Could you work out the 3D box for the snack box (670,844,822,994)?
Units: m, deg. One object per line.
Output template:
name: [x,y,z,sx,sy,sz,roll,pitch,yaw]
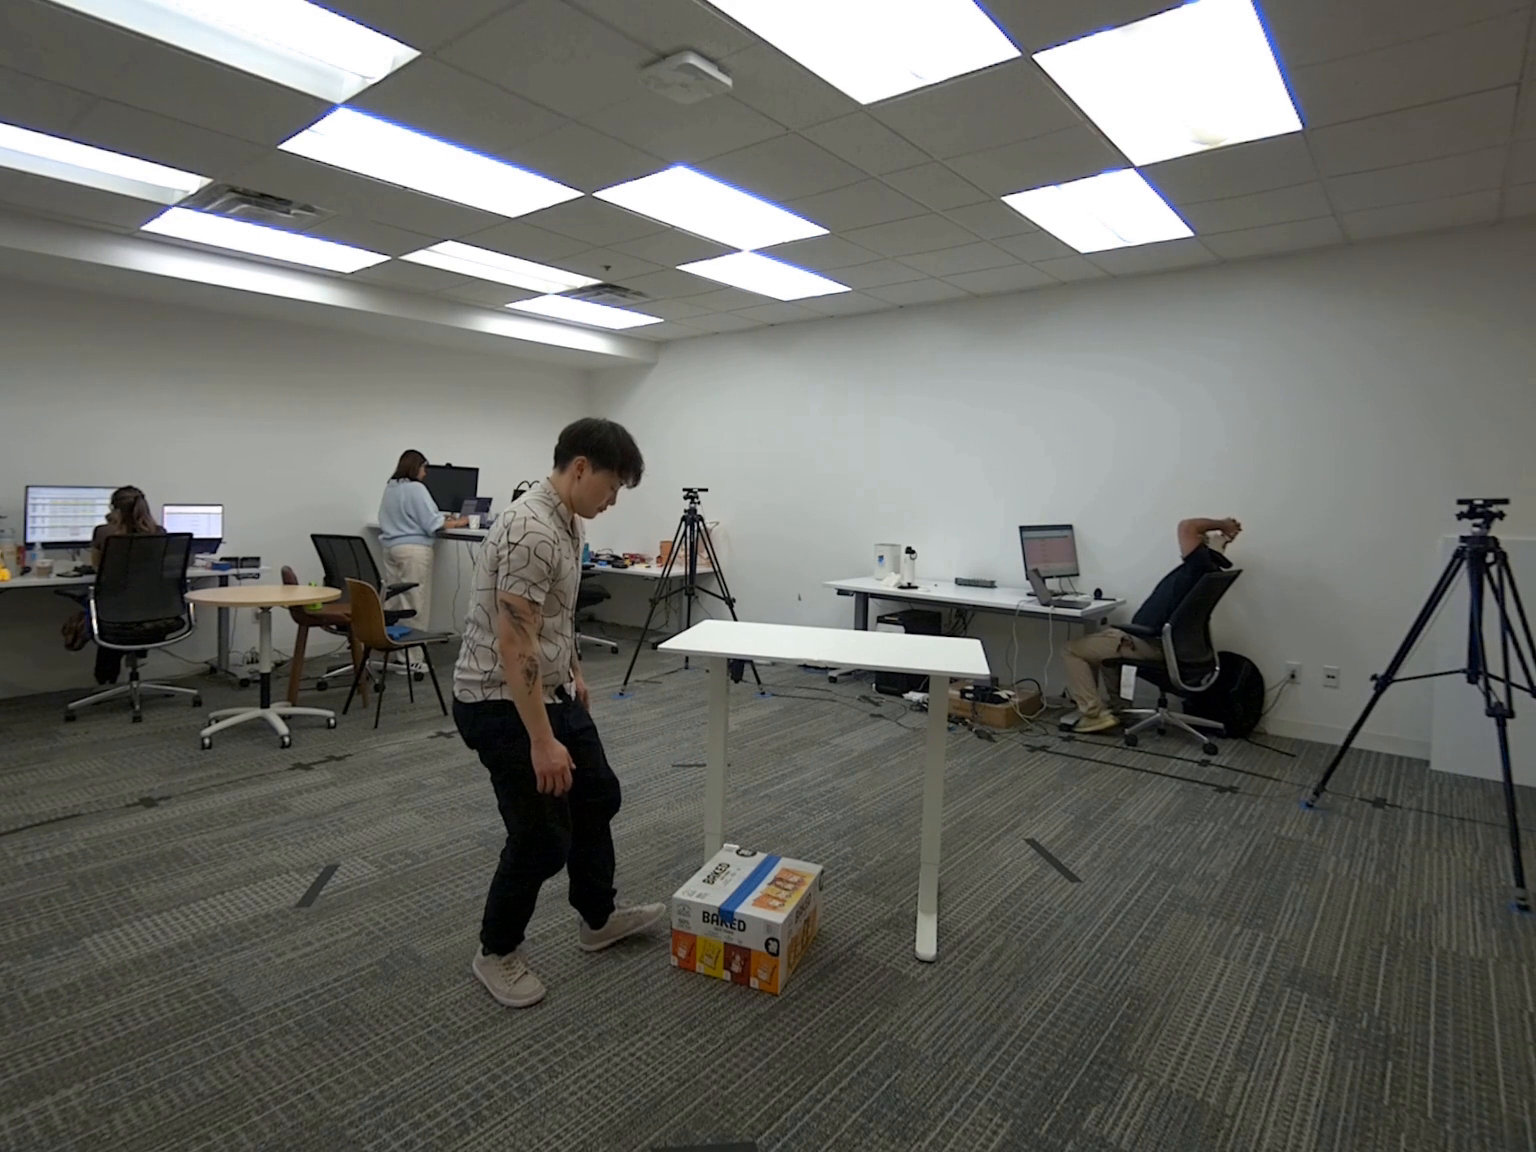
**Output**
snack box: [-0.060,1.021,2.582,0.348,0.205,0.397,4,6,22]
